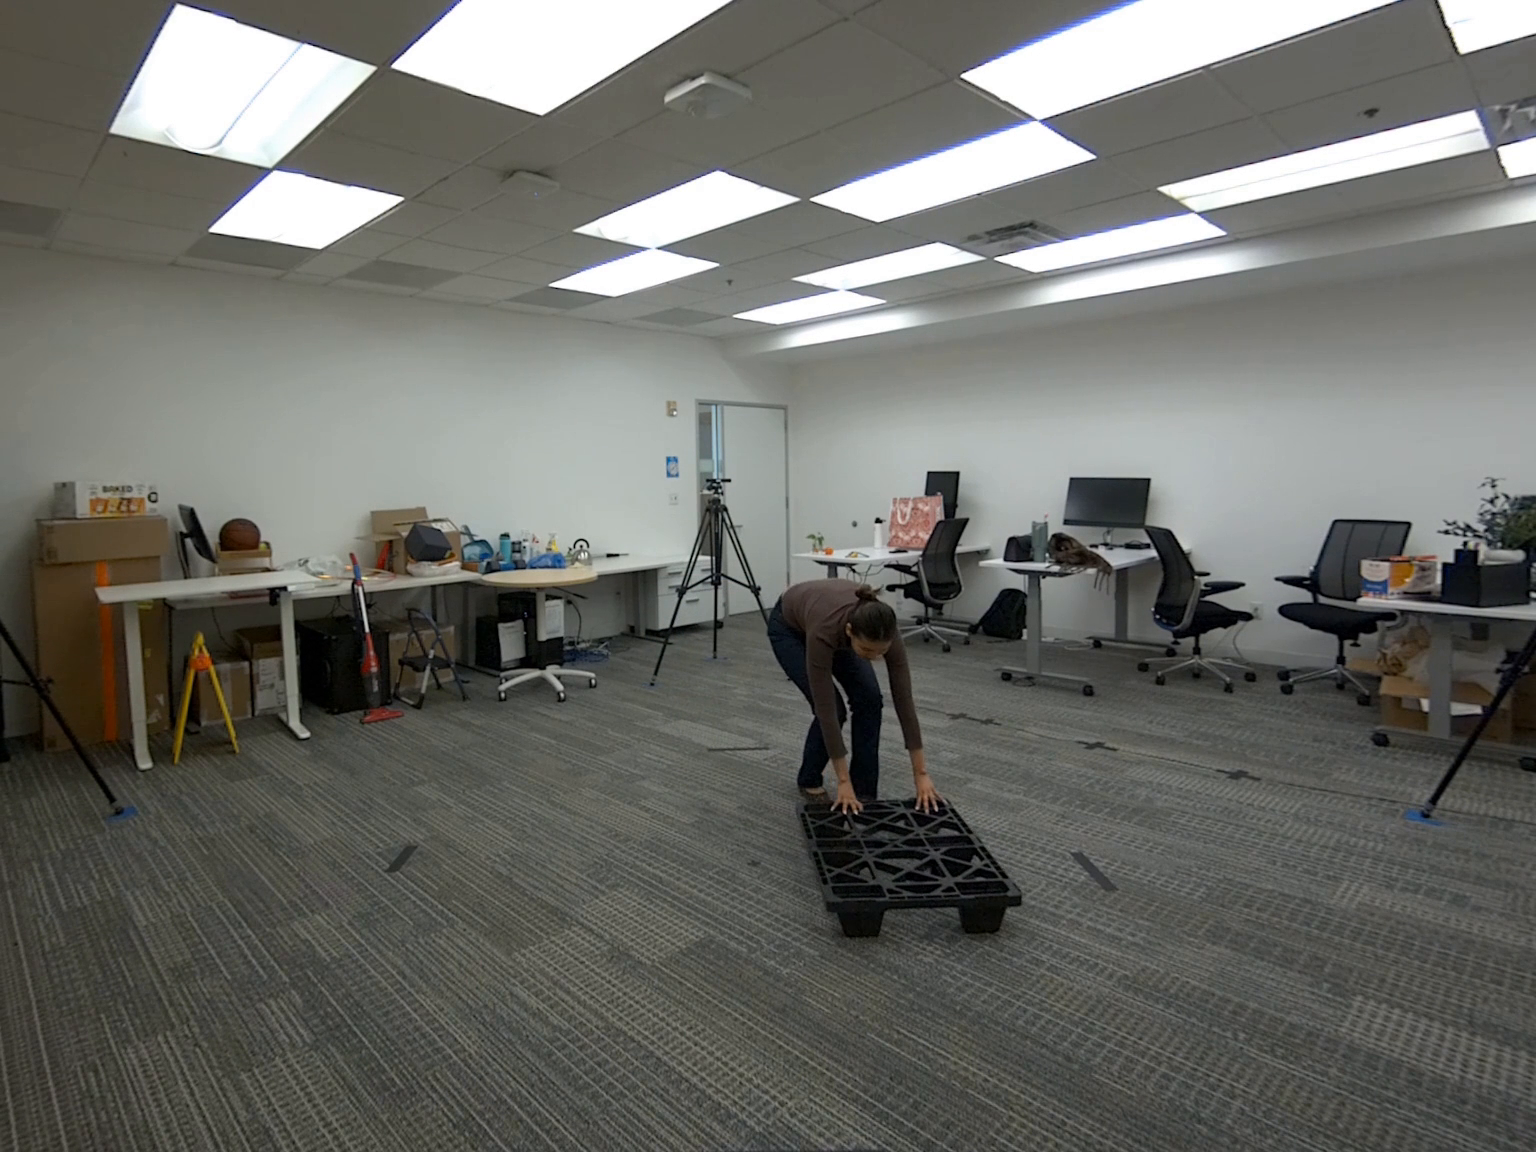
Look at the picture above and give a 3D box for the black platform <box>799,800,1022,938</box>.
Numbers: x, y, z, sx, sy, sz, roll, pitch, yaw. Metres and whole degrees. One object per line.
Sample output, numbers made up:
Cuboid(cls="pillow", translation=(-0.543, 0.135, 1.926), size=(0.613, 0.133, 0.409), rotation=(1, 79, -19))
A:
Cuboid(cls="black platform", translation=(0.442, 0.986, 2.959), size=(0.604, 0.143, 0.811), rotation=(-1, 6, -3))
